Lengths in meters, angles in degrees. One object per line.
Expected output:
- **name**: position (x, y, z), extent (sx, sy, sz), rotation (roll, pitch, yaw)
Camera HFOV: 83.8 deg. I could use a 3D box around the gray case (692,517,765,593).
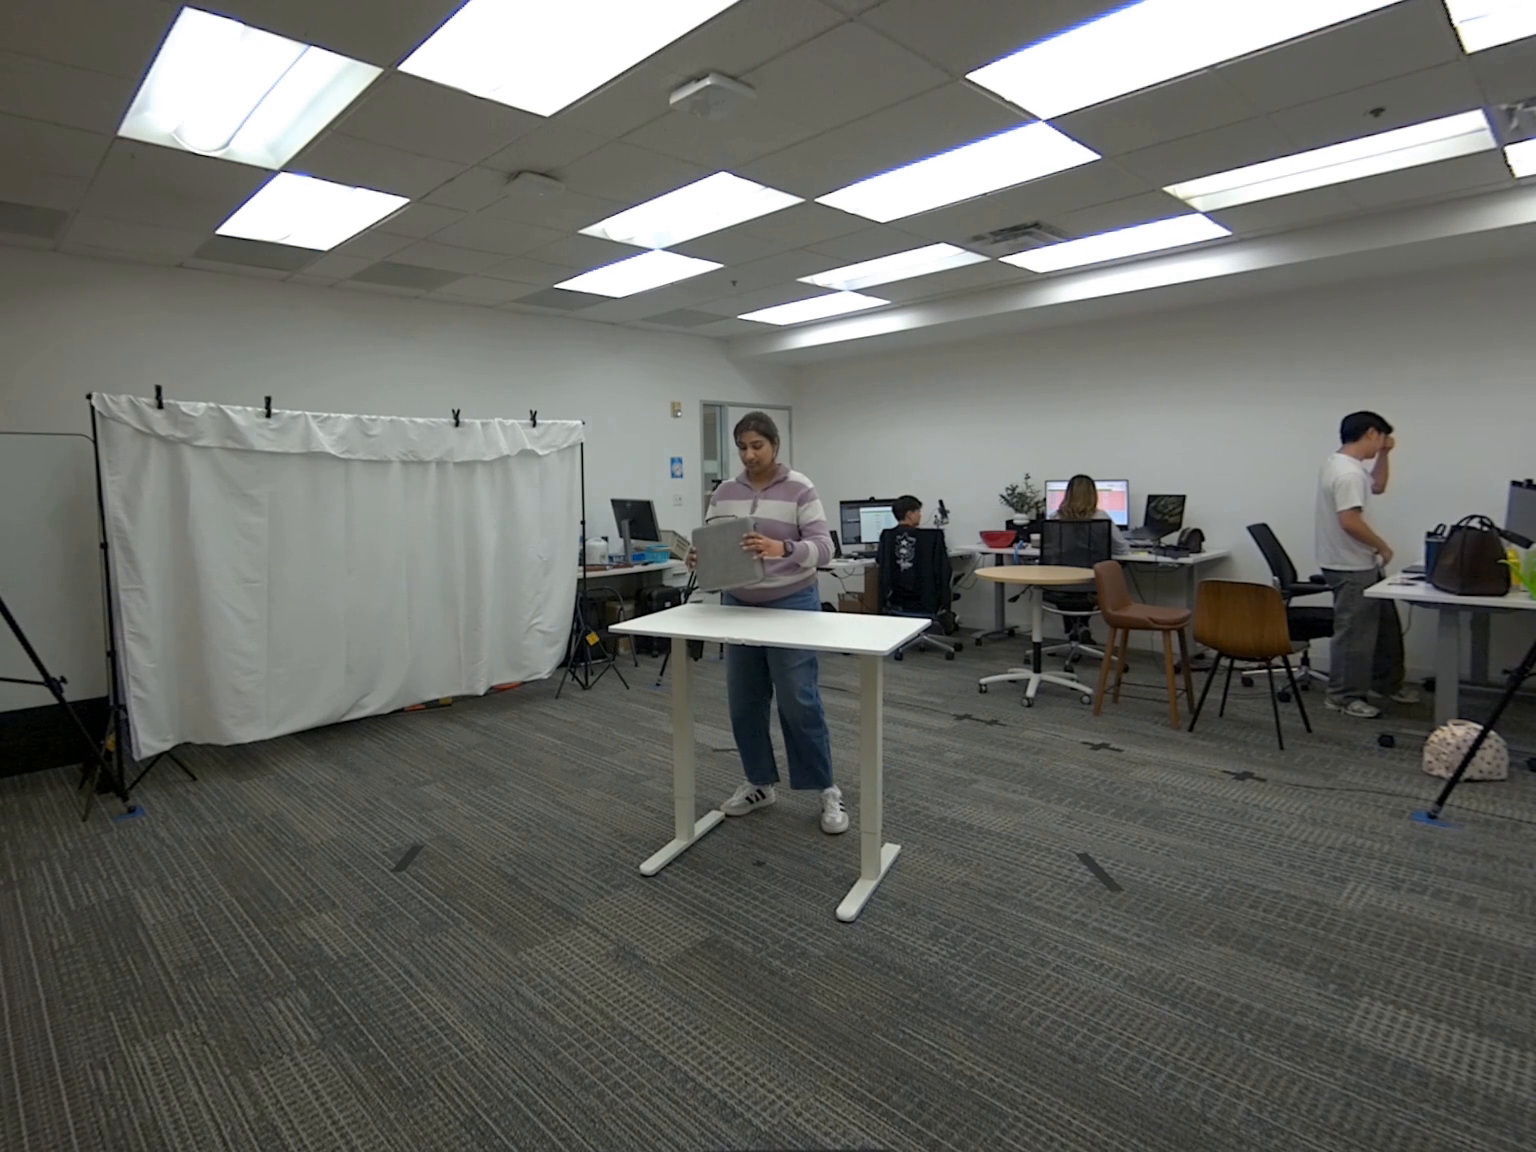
- **gray case**: position (-0.148, -0.082, 3.229), extent (0.260, 0.264, 0.102), rotation (-14, -11, 17)
